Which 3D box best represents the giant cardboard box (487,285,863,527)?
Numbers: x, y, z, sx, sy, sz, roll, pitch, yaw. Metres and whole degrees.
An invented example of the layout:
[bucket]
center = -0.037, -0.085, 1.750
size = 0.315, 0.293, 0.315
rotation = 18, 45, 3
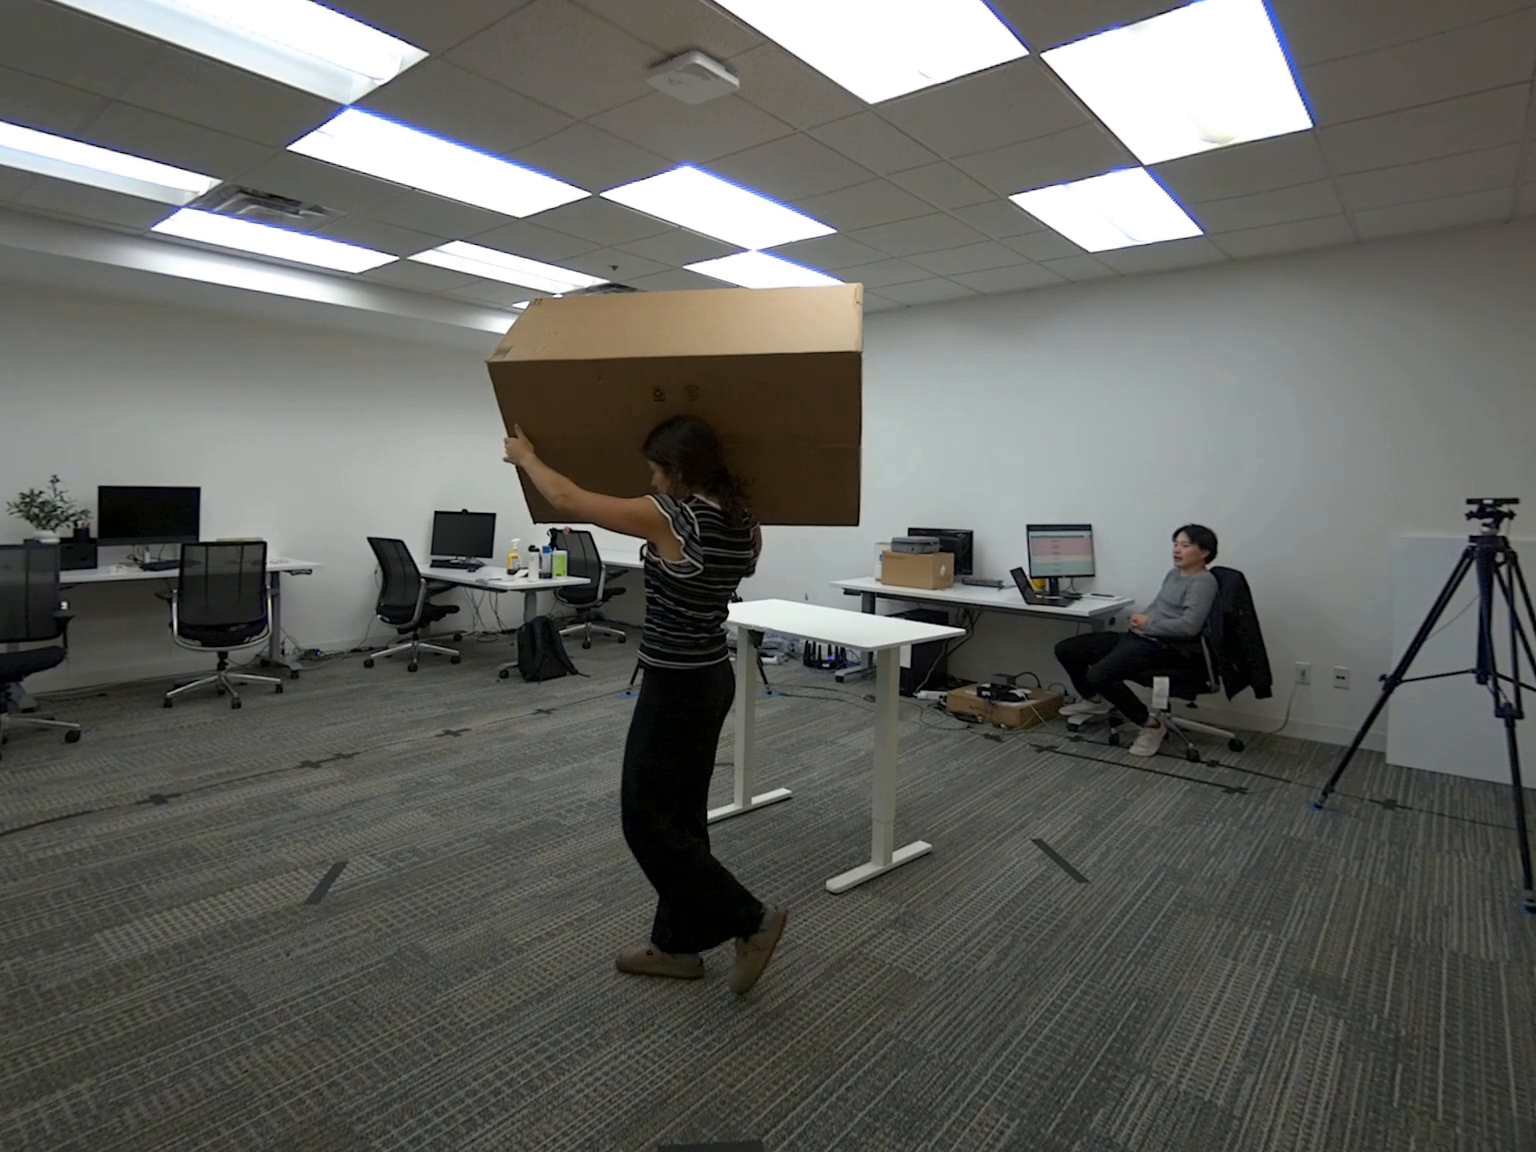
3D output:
[giant cardboard box]
center = -0.240, -0.507, 2.576
size = 1.037, 0.559, 0.435
rotation = 1, 40, 10
